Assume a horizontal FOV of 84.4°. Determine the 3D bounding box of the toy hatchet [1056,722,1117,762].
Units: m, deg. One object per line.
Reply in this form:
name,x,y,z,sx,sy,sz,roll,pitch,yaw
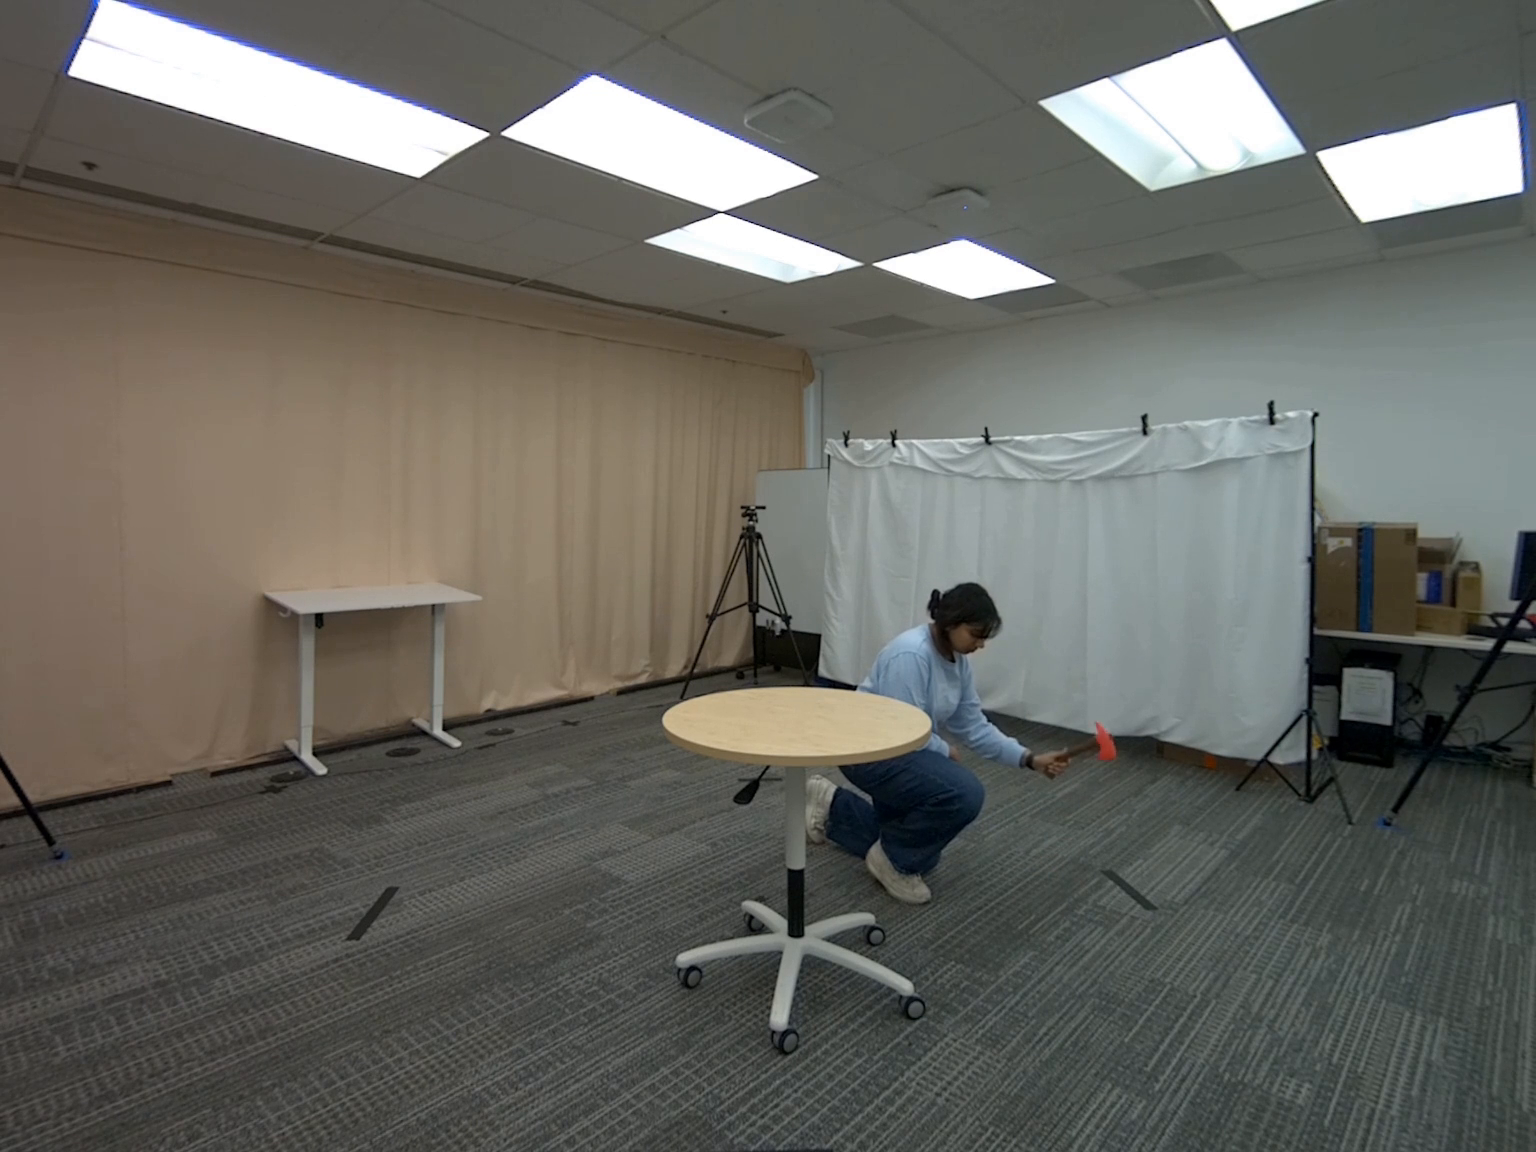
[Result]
toy hatchet,1.100,0.635,2.920,0.028,0.271,0.135,13,35,-51
